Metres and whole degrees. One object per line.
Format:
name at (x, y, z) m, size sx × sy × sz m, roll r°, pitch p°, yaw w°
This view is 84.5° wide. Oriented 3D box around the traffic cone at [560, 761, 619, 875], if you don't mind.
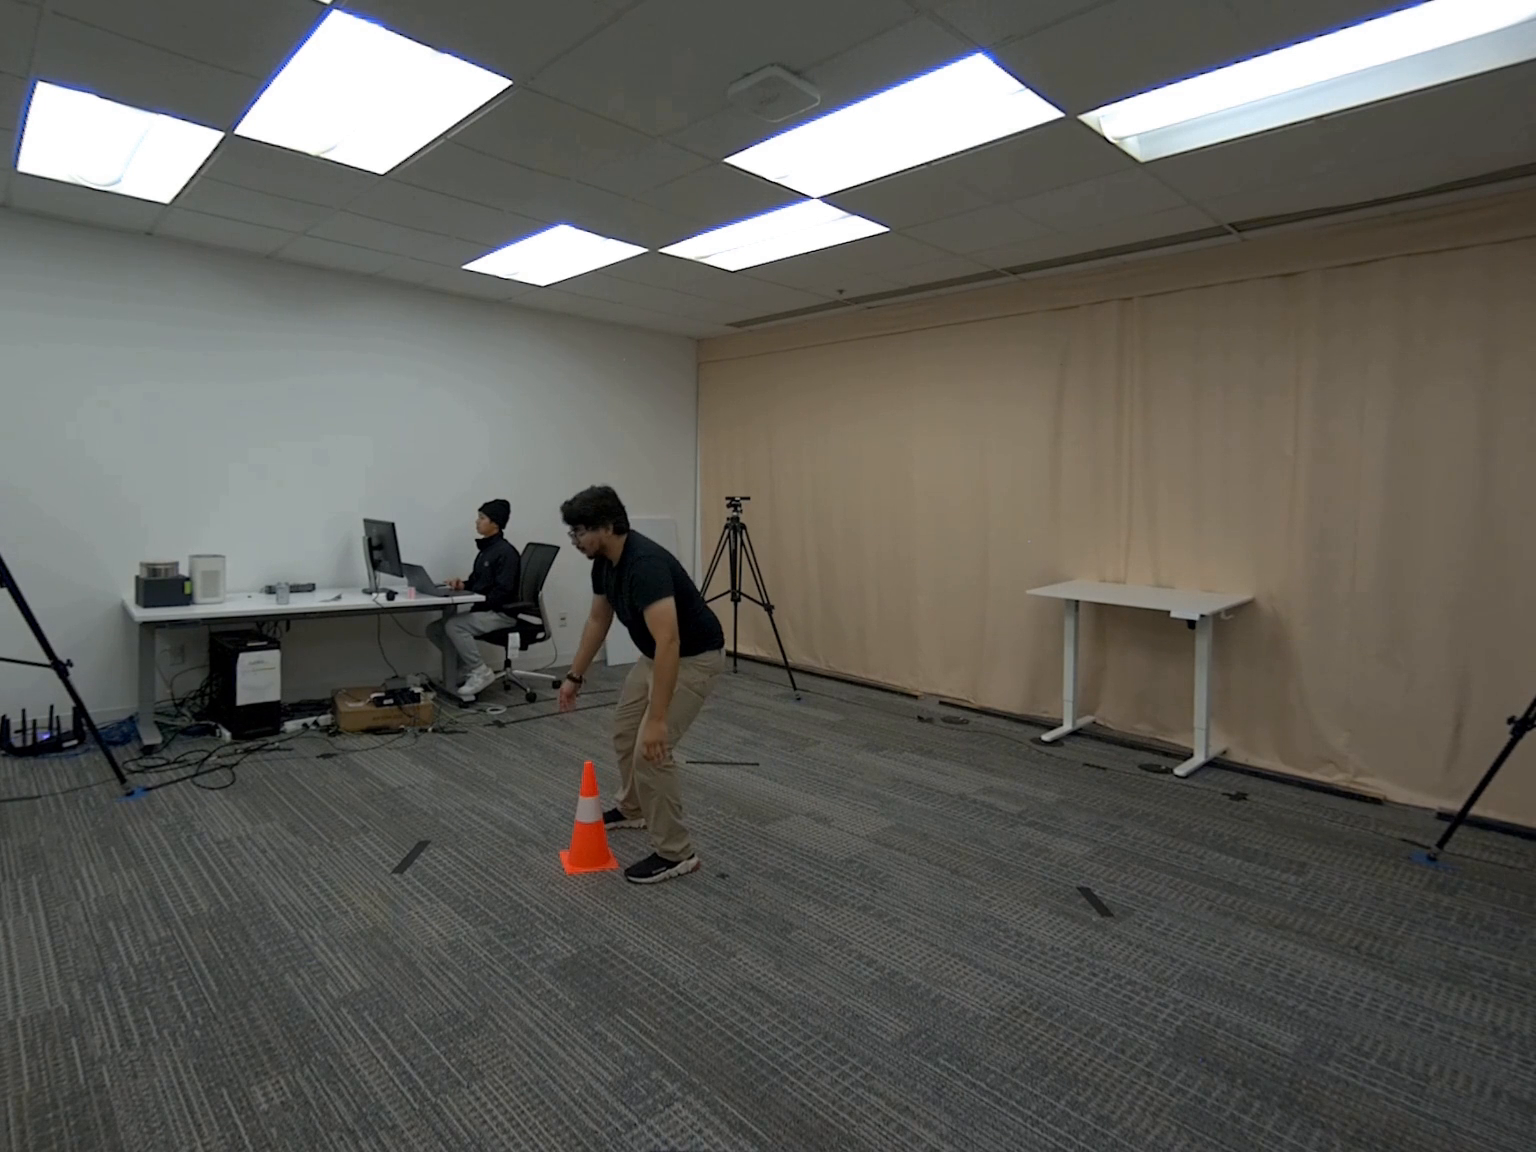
traffic cone at (-0.696, 0.903, 3.202) m, size 0.202 × 0.383 × 0.207 m, roll 1°, pitch 4°, yaw -20°
